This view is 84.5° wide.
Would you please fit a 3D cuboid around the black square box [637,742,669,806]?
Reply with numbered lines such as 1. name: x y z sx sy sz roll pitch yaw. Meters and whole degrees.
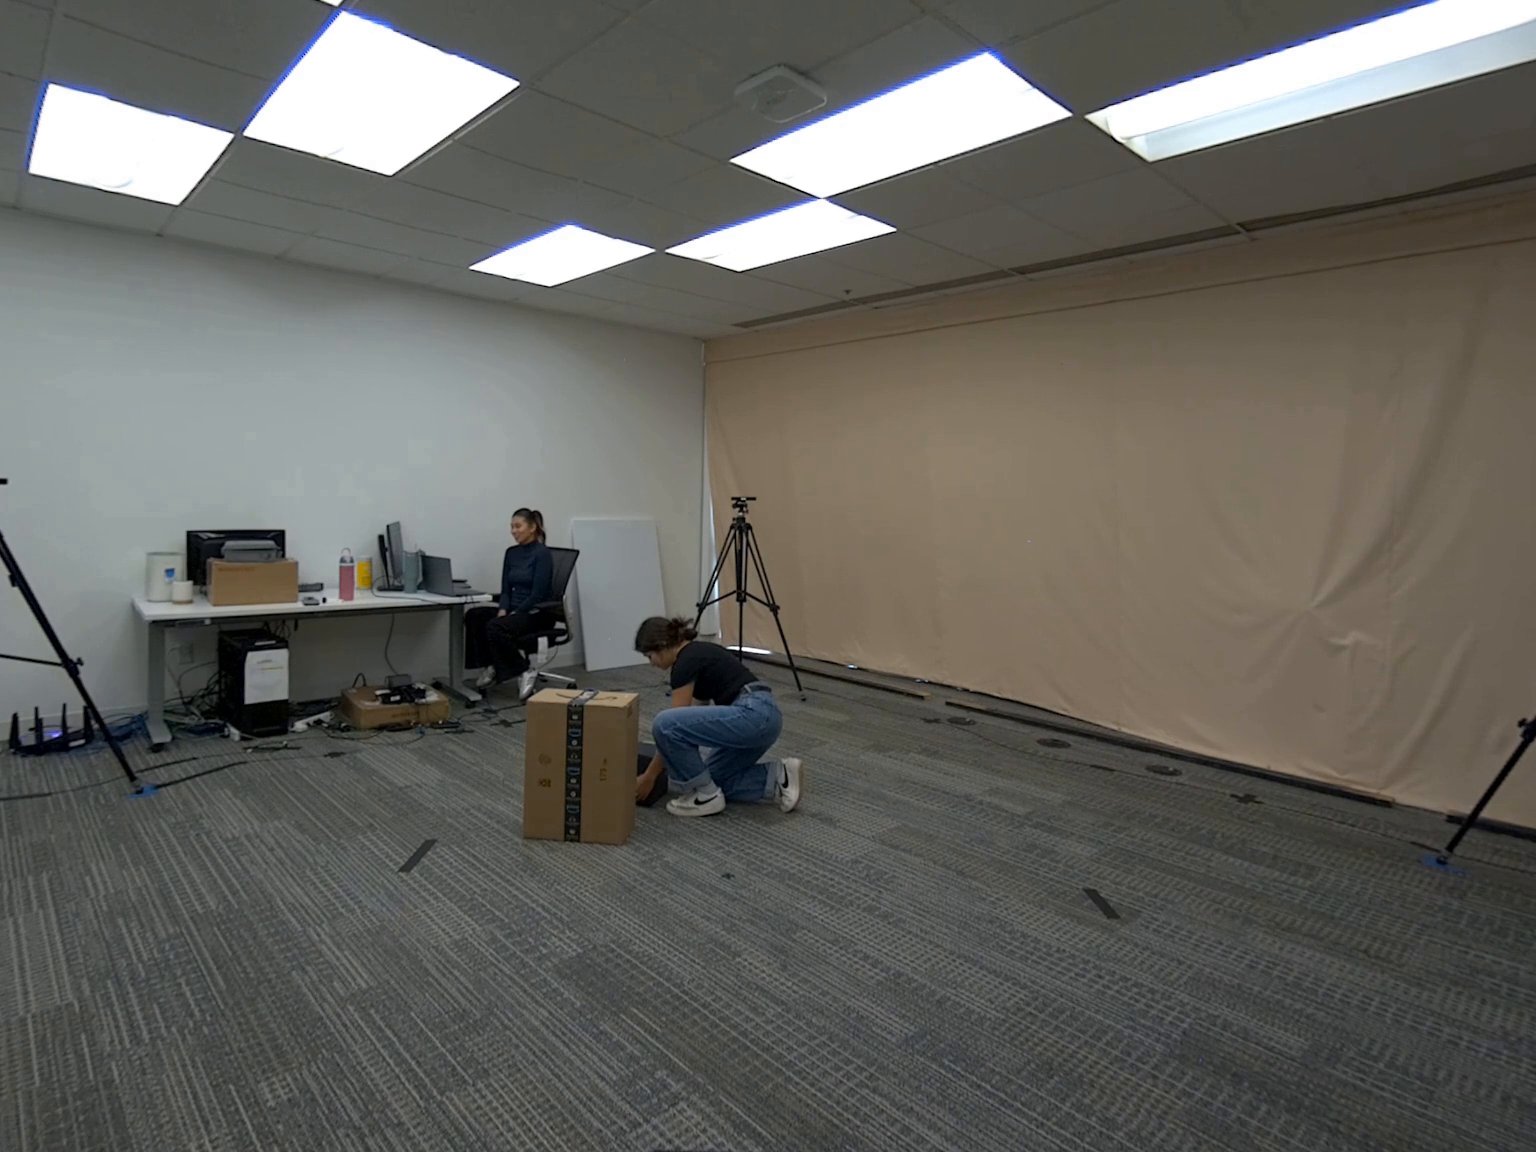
1. black square box: -0.565 0.901 3.897 0.158 0.227 0.214 4 4 16
